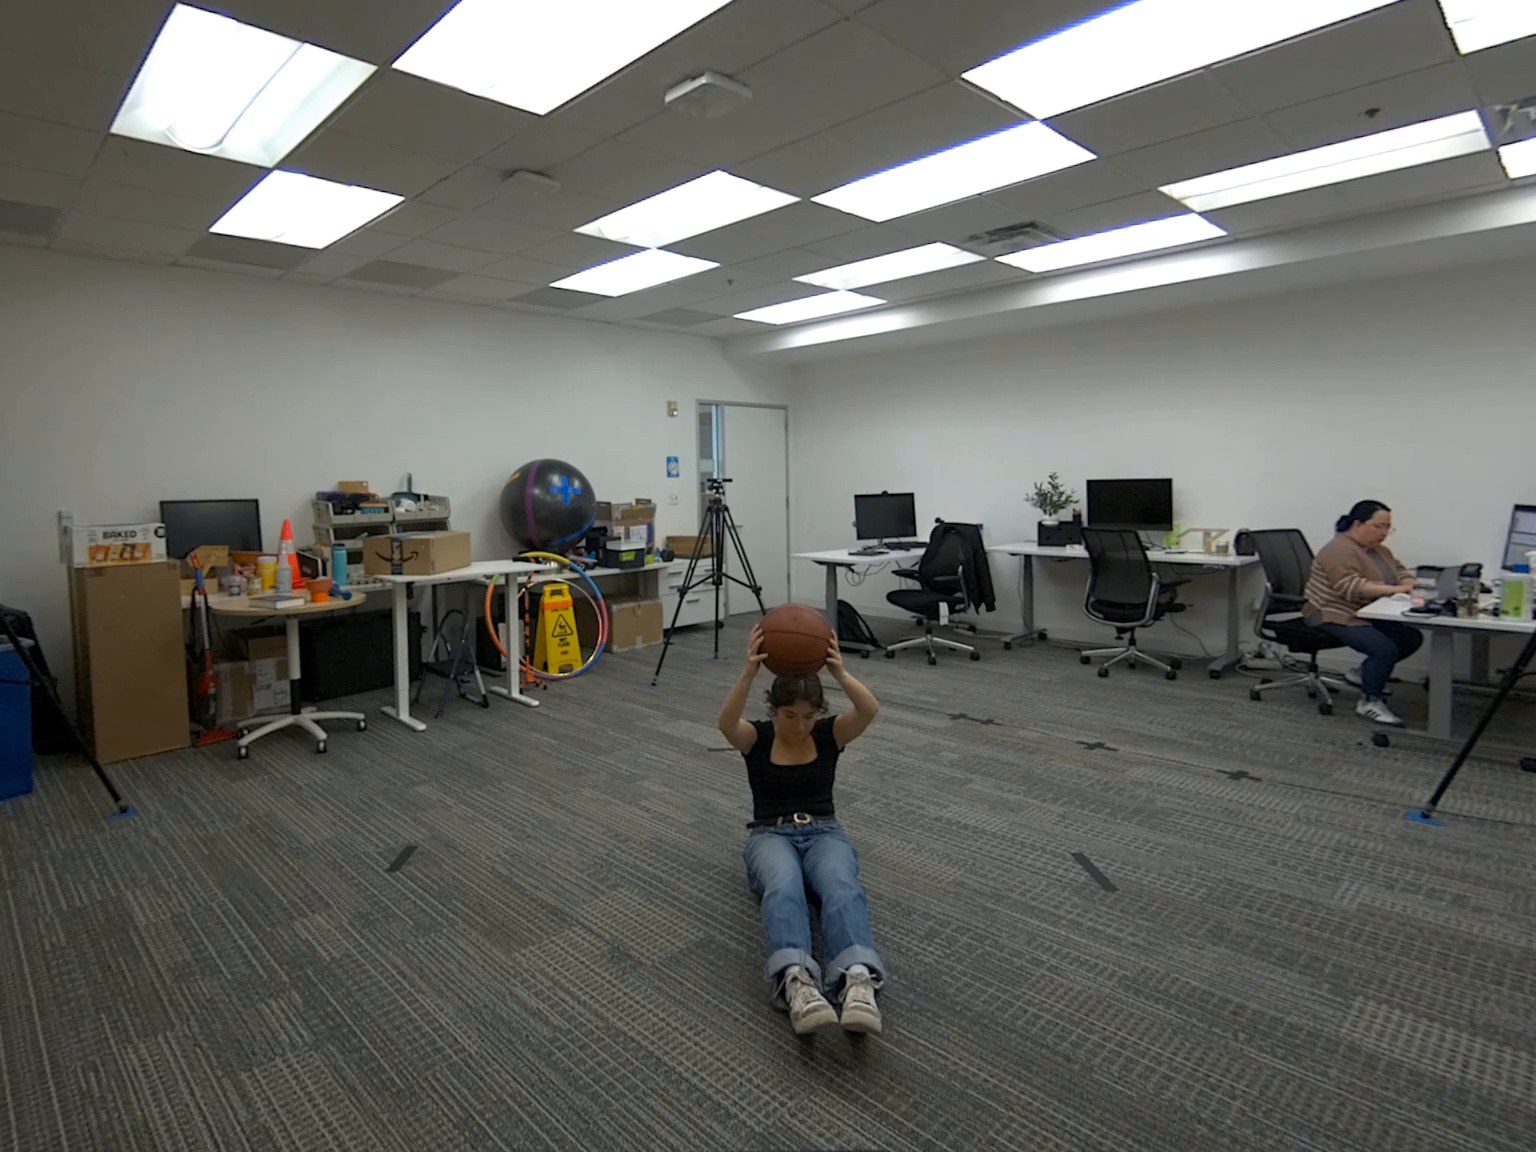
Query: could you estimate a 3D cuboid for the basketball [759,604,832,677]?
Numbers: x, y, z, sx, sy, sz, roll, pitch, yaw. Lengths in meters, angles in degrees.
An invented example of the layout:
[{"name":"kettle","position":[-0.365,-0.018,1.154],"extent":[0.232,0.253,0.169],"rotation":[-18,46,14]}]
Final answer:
[{"name":"basketball","position":[0.078,0.206,2.666],"extent":[0.236,0.235,0.237],"rotation":[-1,5,-2]}]
